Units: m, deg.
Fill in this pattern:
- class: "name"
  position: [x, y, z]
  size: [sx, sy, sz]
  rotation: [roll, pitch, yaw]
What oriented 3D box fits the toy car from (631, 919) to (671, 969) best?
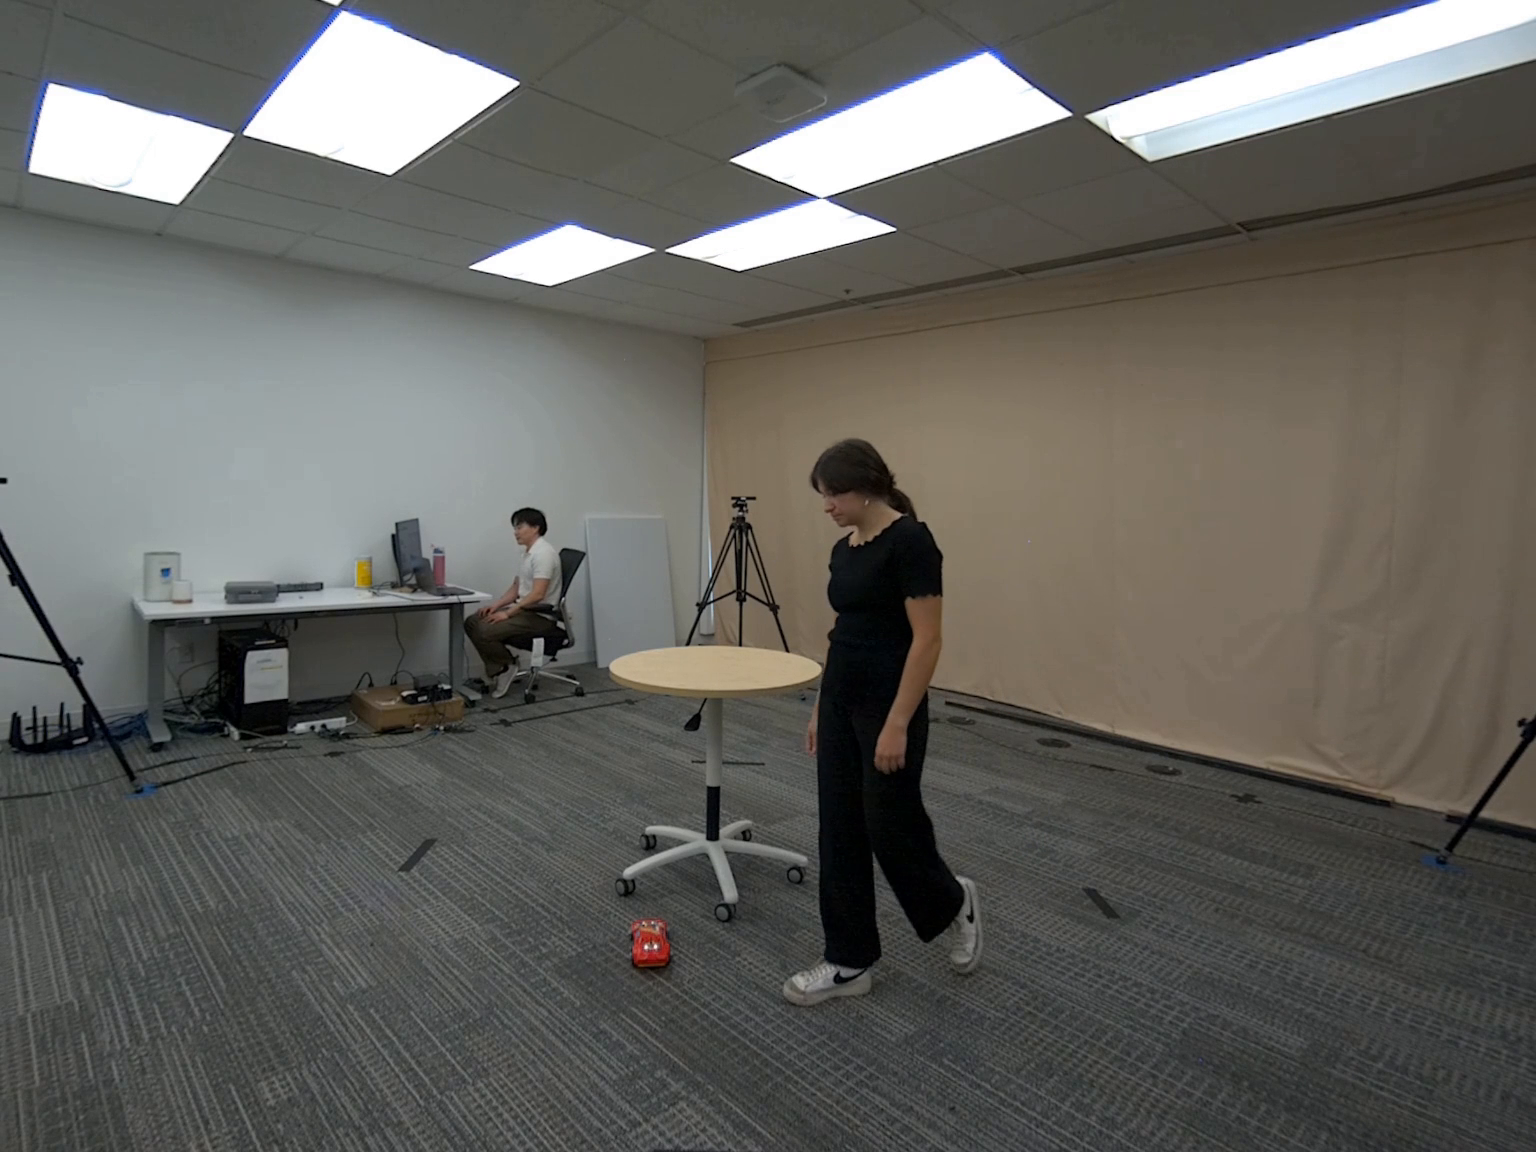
- class: "toy car"
  position: [-0.366, 1.119, 2.552]
  size: [0.129, 0.083, 0.255]
  rotation: [1, -5, -8]
